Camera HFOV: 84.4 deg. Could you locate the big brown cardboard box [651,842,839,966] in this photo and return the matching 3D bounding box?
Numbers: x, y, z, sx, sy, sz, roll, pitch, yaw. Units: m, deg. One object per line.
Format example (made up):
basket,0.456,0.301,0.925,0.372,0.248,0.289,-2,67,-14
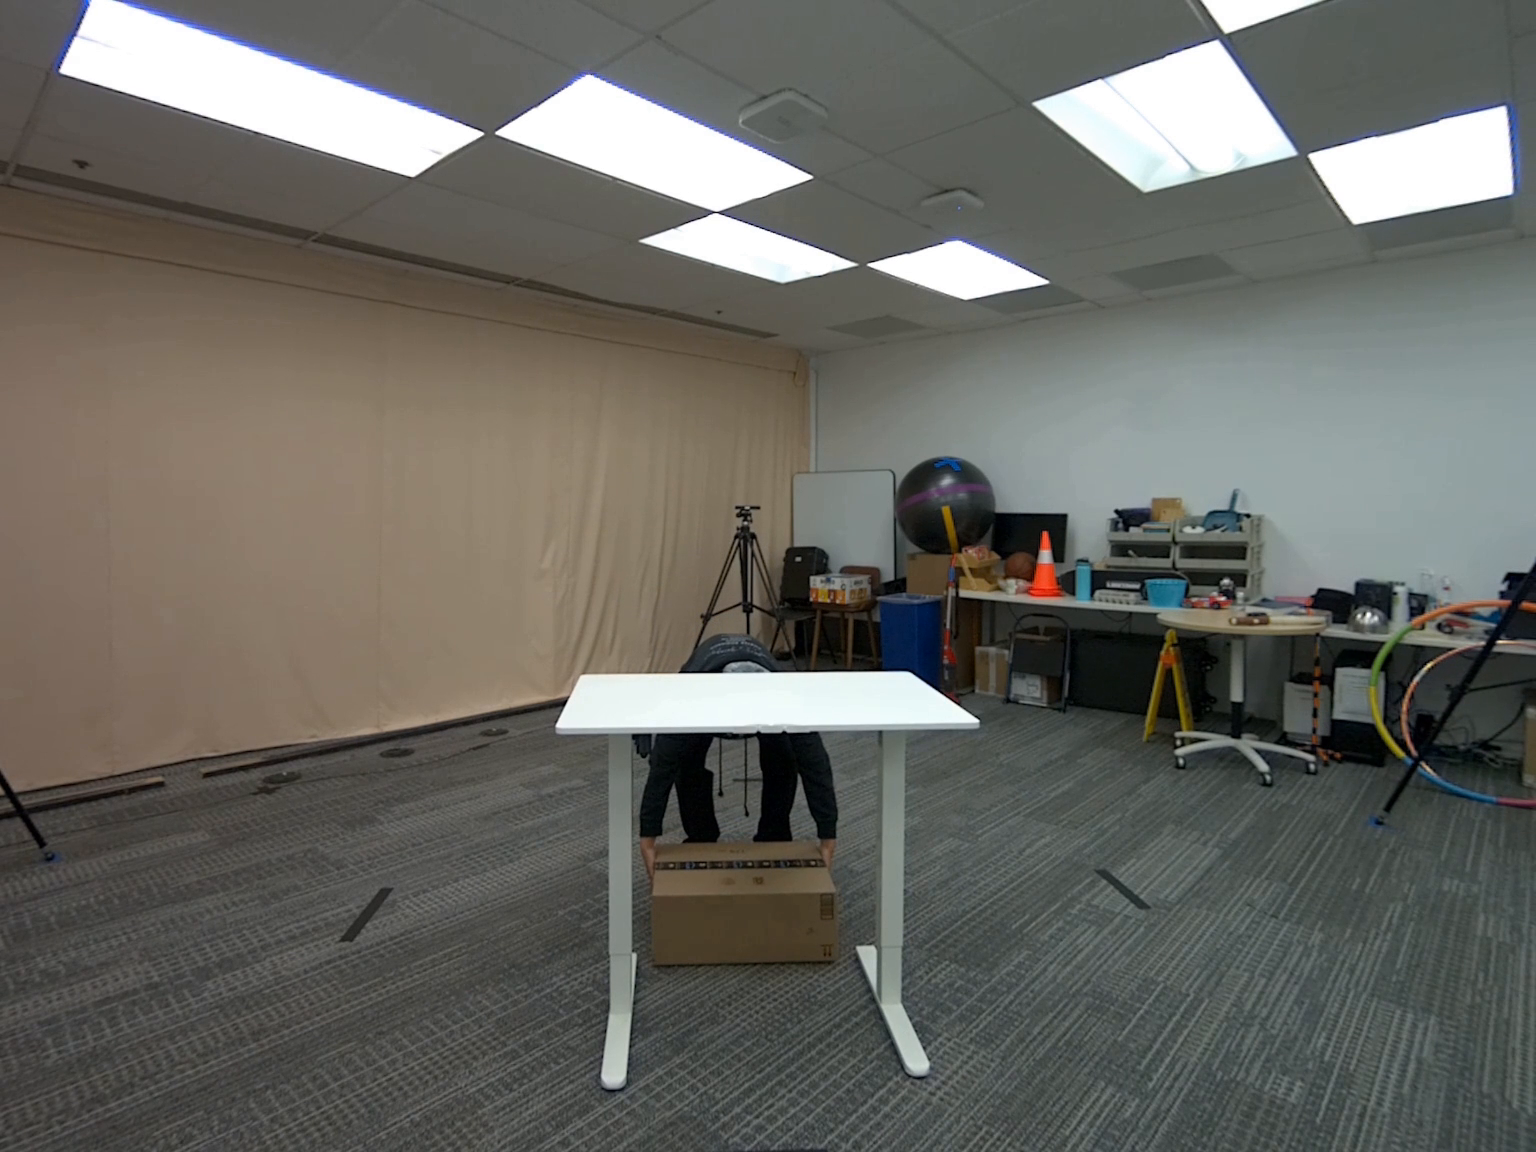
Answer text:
big brown cardboard box,-0.090,1.052,2.747,0.587,0.233,0.419,-1,3,-3
